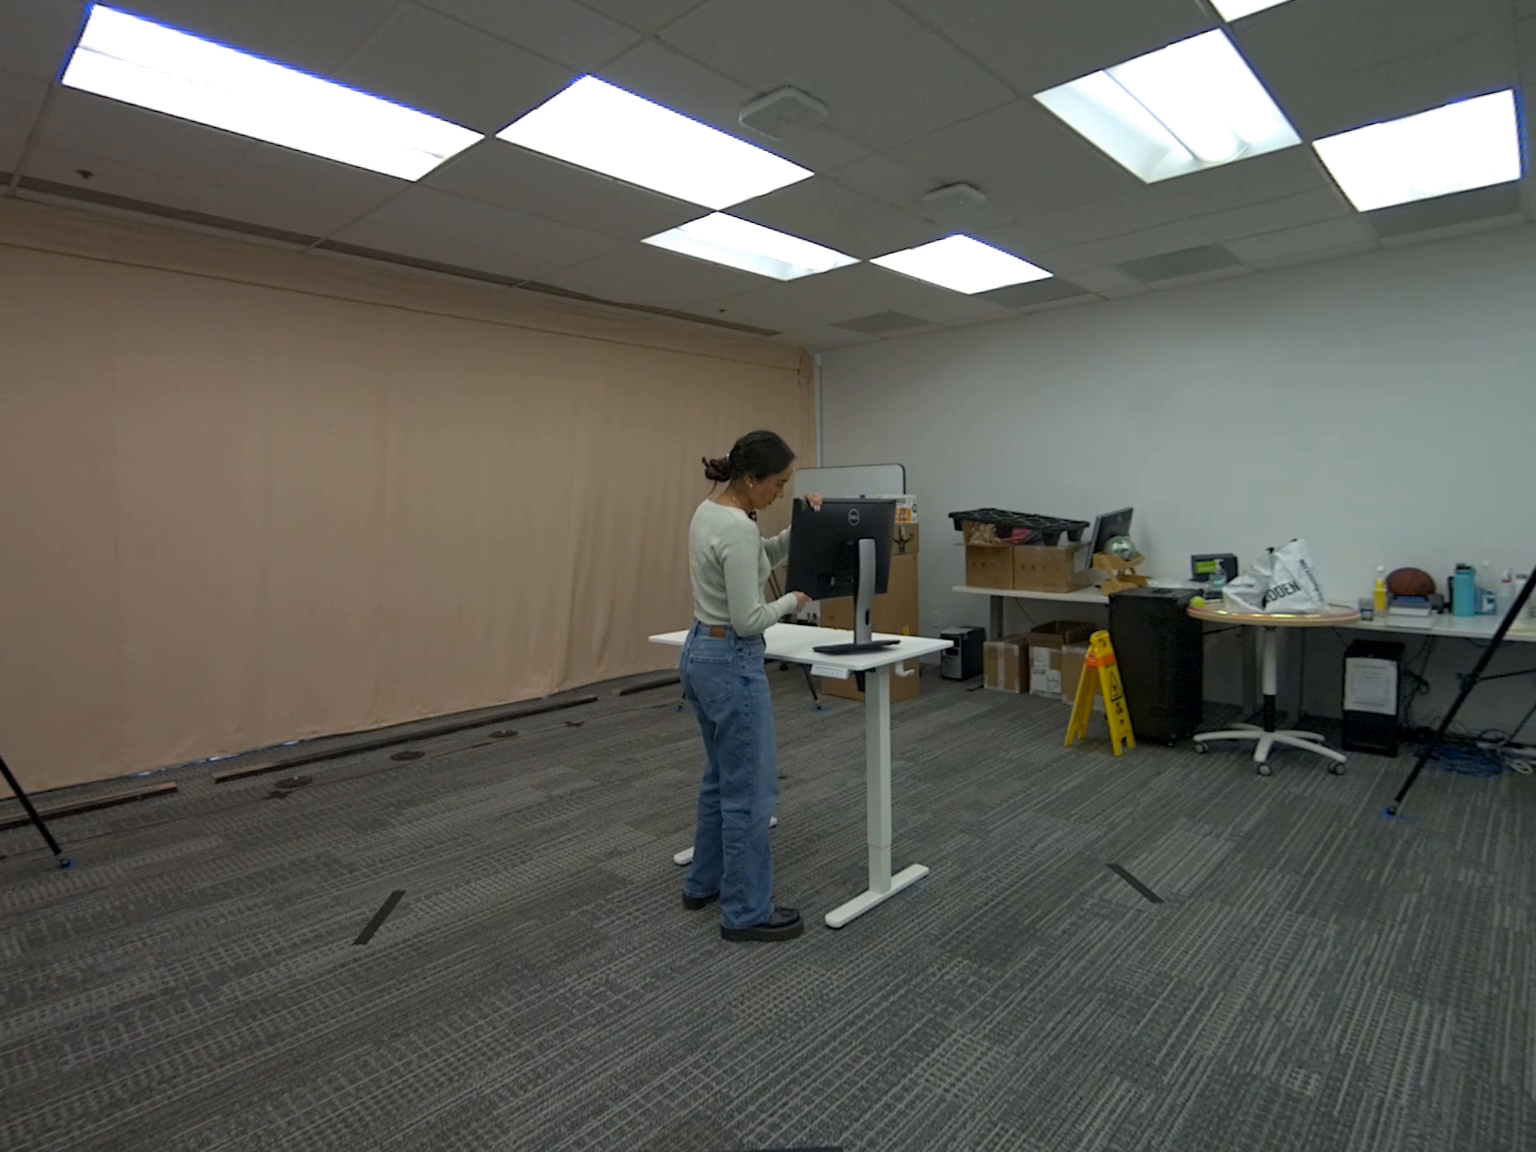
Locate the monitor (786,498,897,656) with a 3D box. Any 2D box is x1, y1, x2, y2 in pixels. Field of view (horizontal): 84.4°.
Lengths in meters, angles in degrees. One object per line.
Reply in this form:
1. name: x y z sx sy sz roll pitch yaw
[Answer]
1. monitor: 0.298 -0.005 2.891 0.522 0.523 0.192 -3 -3 -43
